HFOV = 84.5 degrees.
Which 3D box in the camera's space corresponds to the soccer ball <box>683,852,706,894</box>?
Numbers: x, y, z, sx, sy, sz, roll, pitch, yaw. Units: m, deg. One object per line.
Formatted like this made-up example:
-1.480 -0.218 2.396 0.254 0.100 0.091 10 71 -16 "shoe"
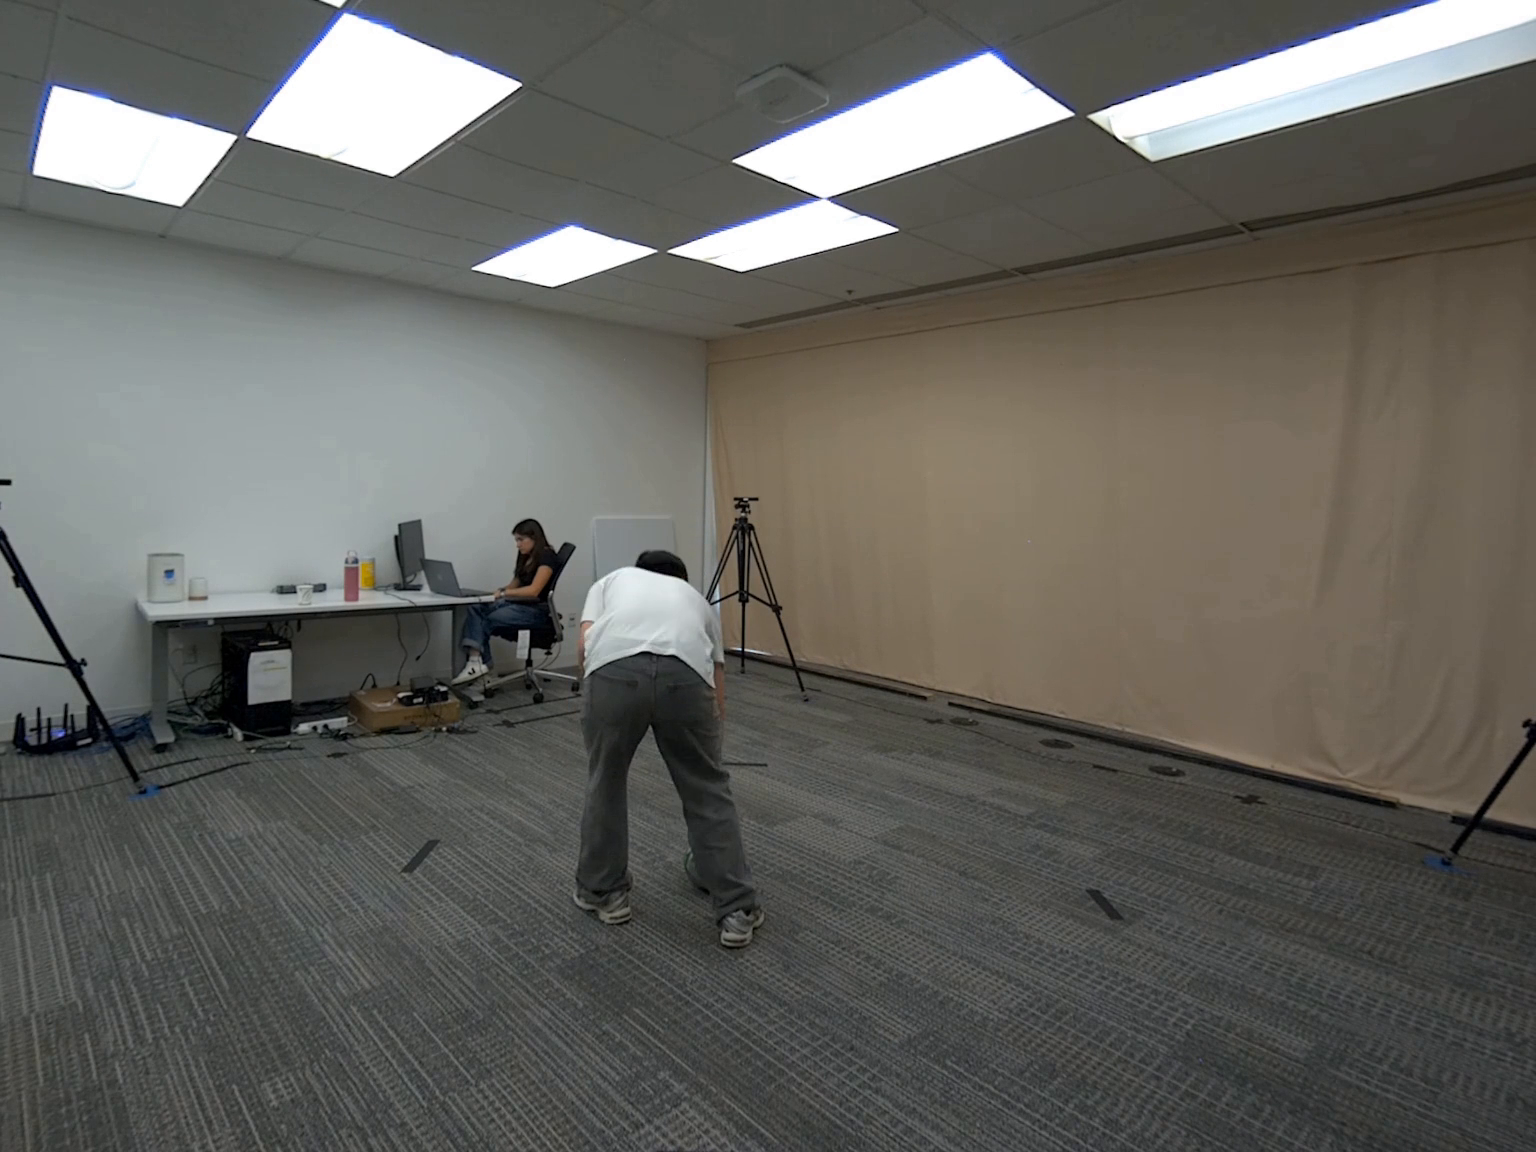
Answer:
-0.211 1.032 3.007 0.187 0.187 0.188 1 4 -1 "soccer ball"
